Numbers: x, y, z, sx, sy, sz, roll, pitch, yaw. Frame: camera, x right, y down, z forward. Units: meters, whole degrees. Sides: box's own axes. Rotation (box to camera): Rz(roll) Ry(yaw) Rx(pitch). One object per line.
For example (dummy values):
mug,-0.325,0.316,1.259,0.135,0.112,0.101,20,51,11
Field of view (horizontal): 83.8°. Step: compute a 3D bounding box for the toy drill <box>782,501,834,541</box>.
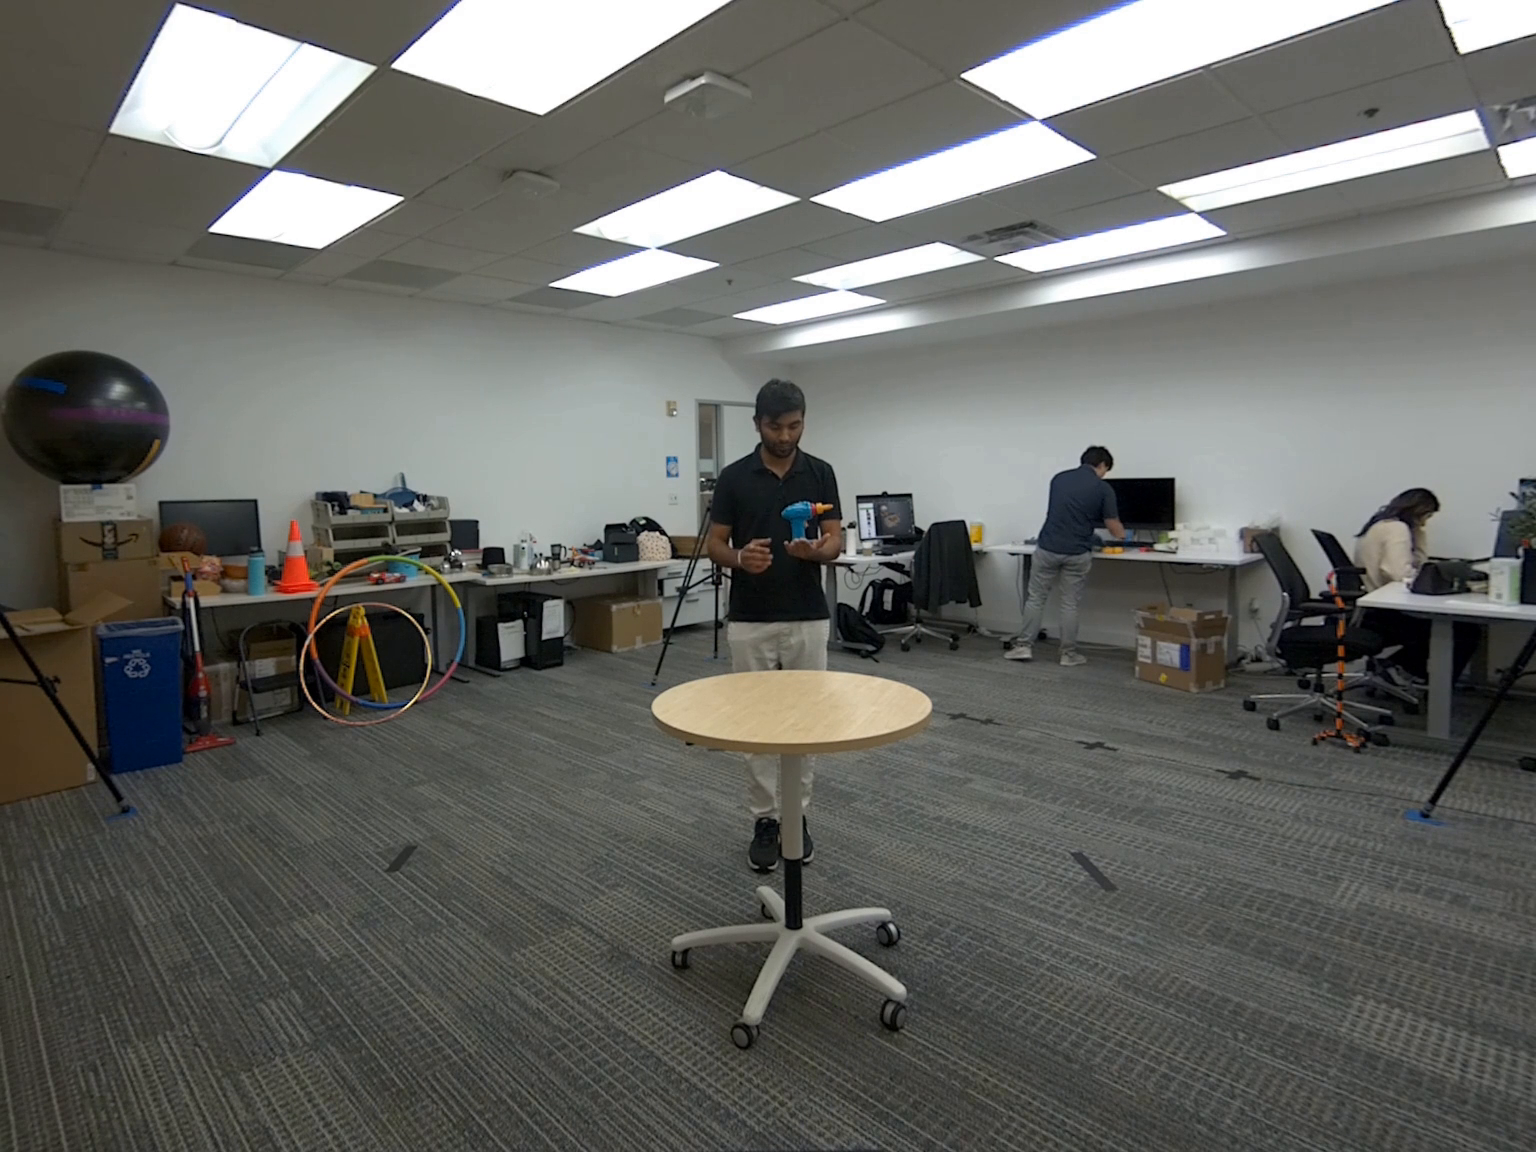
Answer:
toy drill,0.132,-0.177,2.821,0.170,0.145,0.061,-10,3,4
